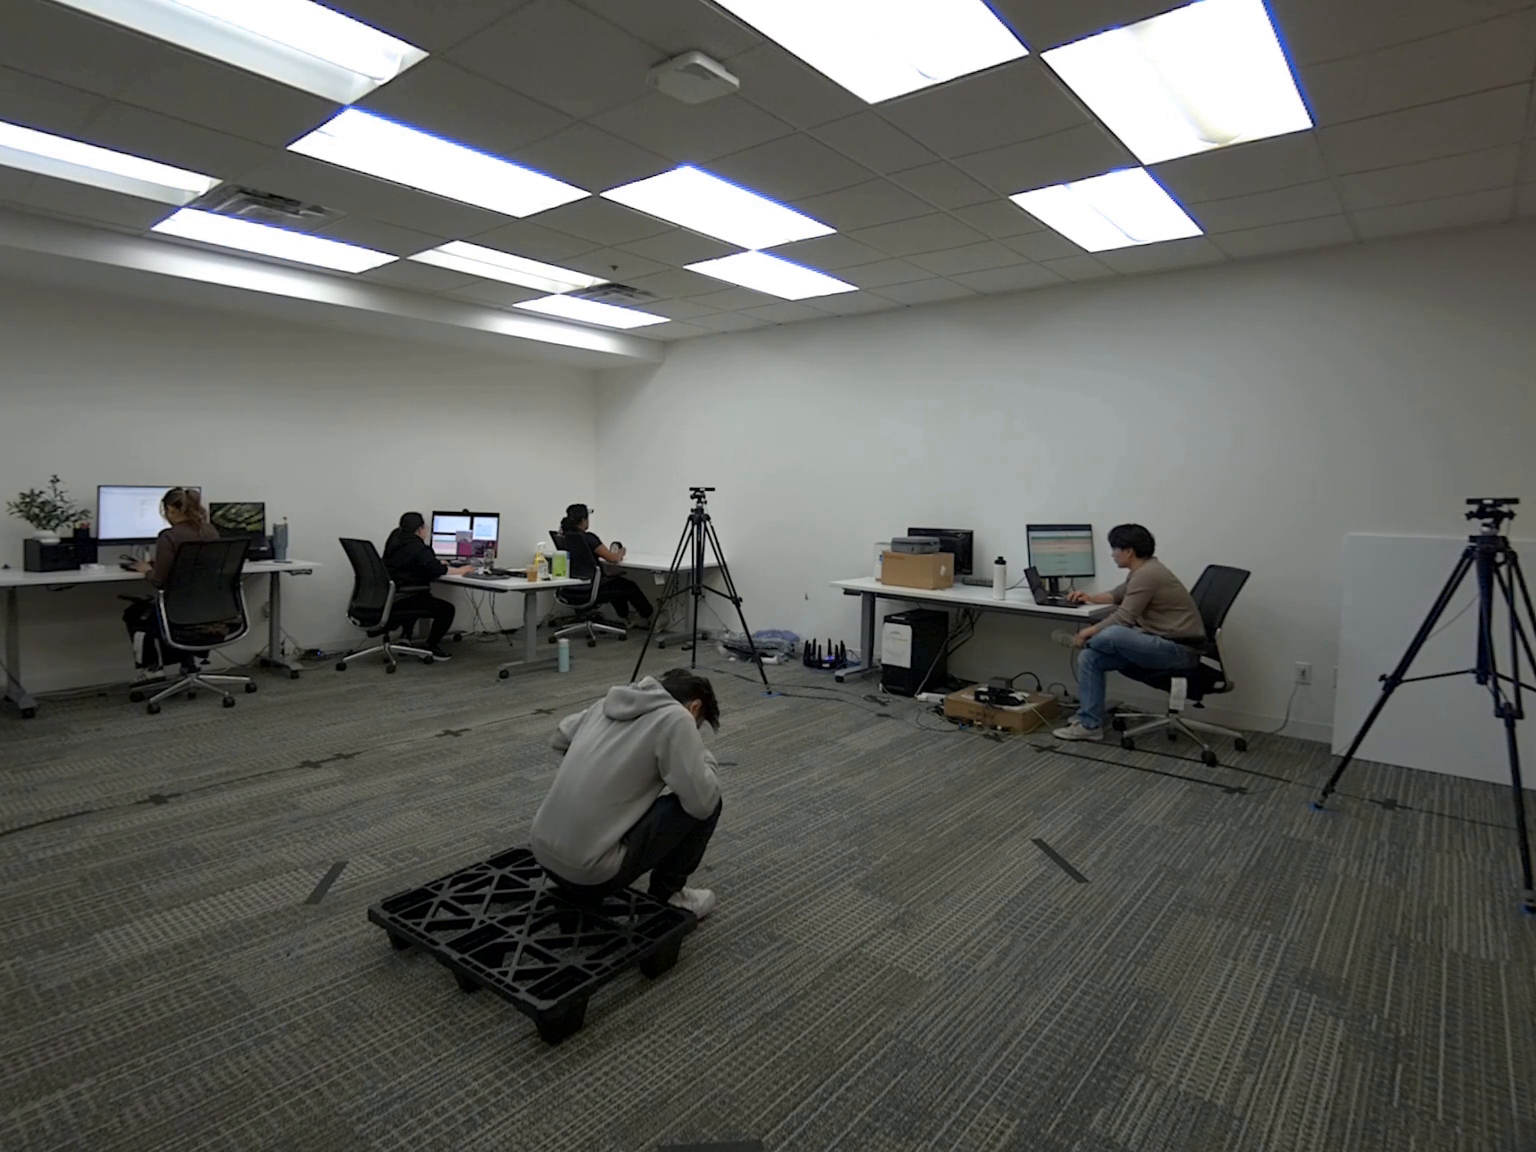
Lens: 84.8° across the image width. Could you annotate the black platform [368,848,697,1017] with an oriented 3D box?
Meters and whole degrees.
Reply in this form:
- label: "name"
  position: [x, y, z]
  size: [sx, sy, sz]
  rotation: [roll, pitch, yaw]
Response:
- label: "black platform"
  position: [-0.707, 1.049, 2.517]
  size: [0.832, 0.143, 0.588]
  rotation: [5, 7, 36]
